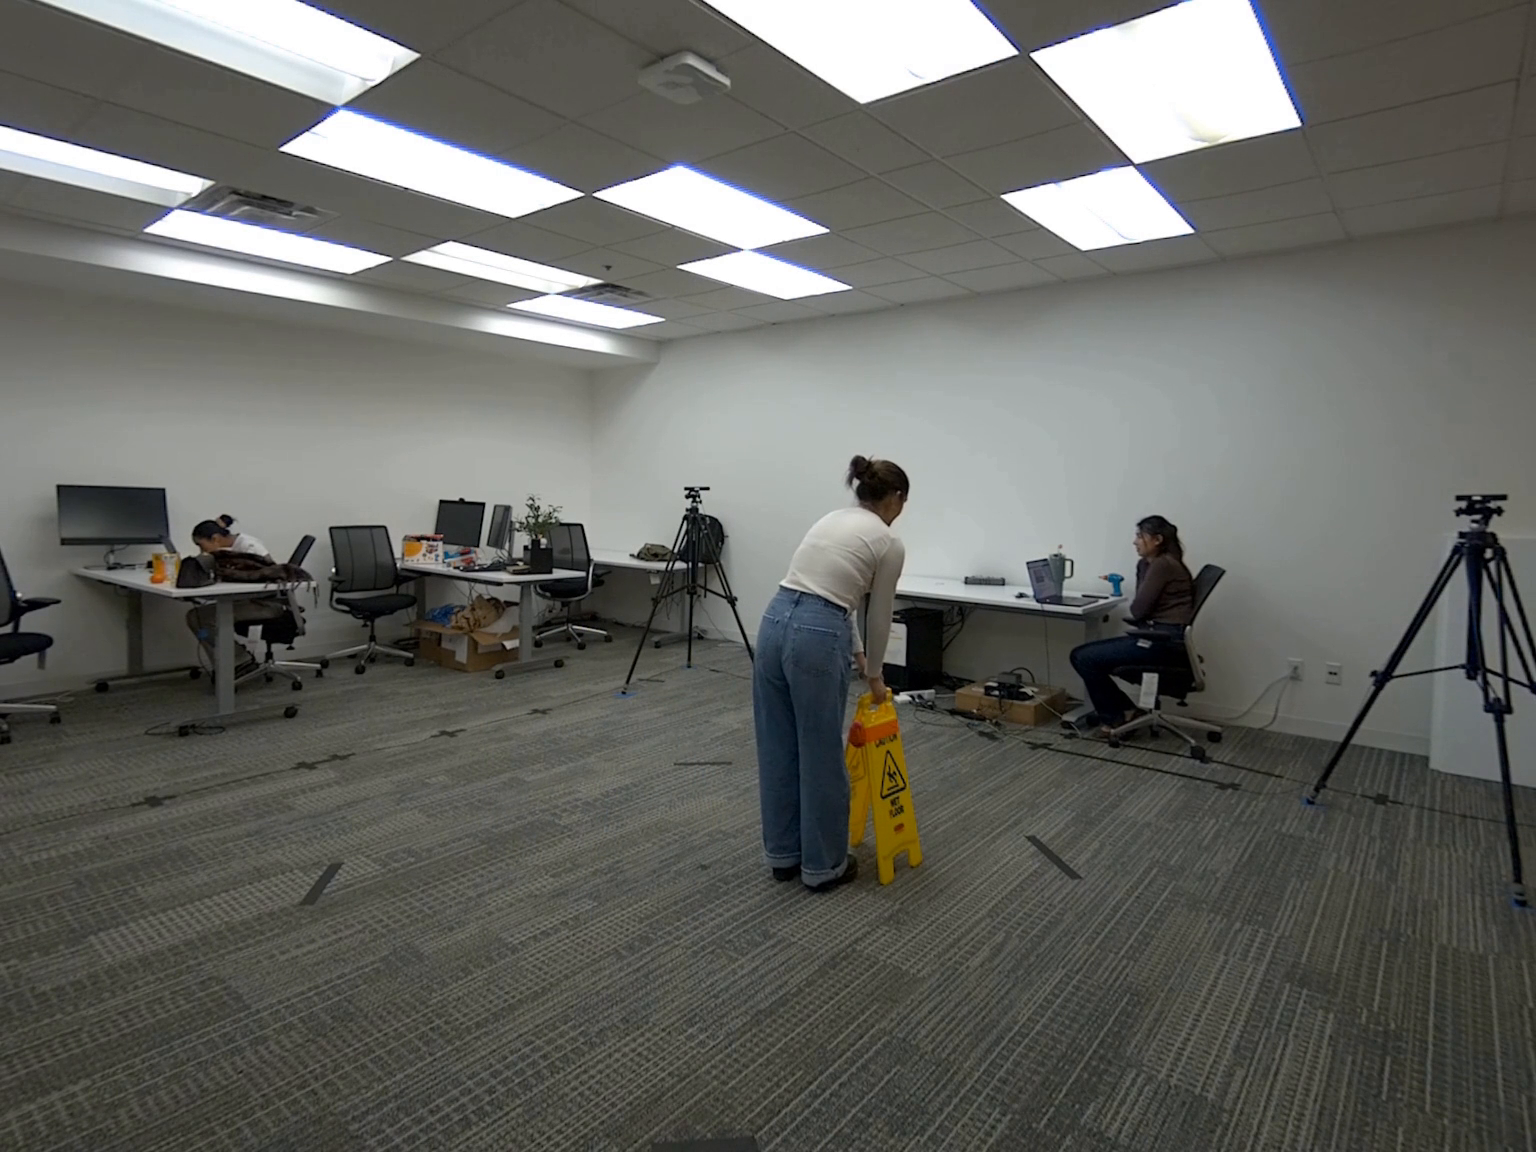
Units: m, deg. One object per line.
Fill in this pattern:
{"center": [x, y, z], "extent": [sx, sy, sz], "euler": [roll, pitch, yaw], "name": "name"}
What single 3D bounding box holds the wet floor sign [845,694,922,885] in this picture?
{"center": [0.385, 0.746, 3.179], "extent": [0.299, 0.645, 0.273], "euler": [3, 3, 41], "name": "wet floor sign"}
